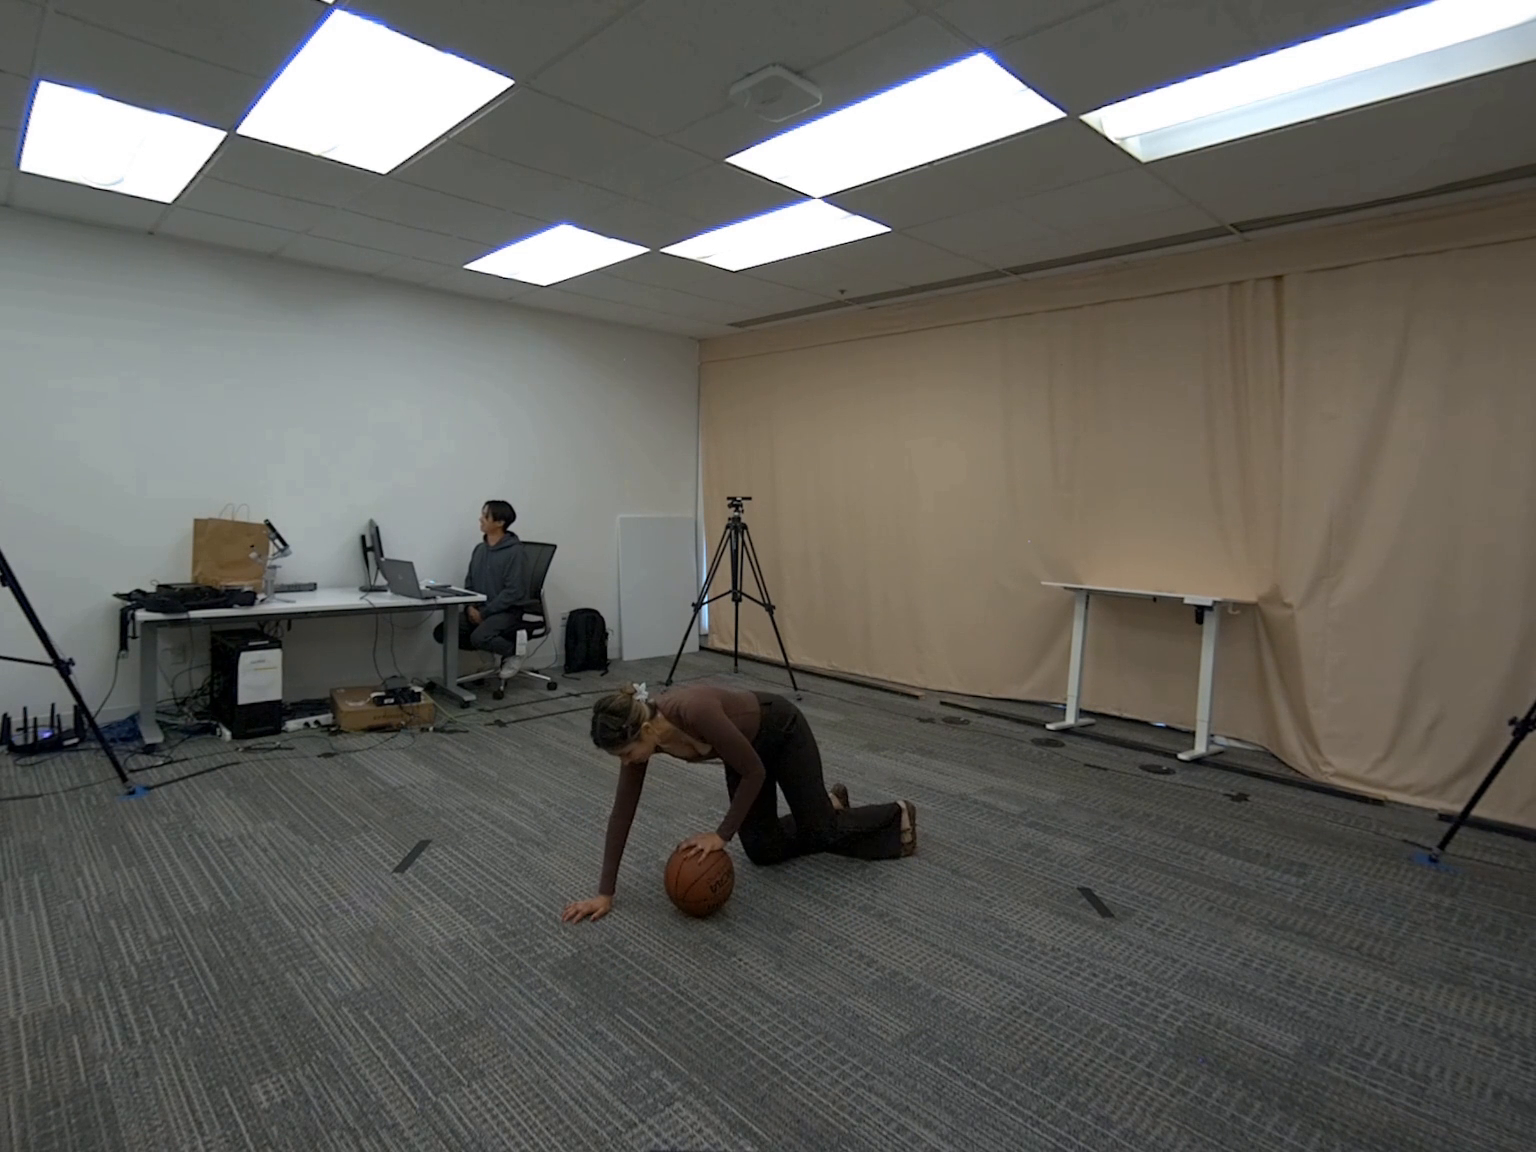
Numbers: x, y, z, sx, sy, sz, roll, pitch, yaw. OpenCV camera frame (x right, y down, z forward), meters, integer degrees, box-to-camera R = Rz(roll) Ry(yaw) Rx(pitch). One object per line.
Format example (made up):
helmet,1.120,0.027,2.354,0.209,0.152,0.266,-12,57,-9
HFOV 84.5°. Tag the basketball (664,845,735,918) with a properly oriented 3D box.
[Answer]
basketball,-0.235,1.010,2.824,0.236,0.235,0.237,1,4,-1
